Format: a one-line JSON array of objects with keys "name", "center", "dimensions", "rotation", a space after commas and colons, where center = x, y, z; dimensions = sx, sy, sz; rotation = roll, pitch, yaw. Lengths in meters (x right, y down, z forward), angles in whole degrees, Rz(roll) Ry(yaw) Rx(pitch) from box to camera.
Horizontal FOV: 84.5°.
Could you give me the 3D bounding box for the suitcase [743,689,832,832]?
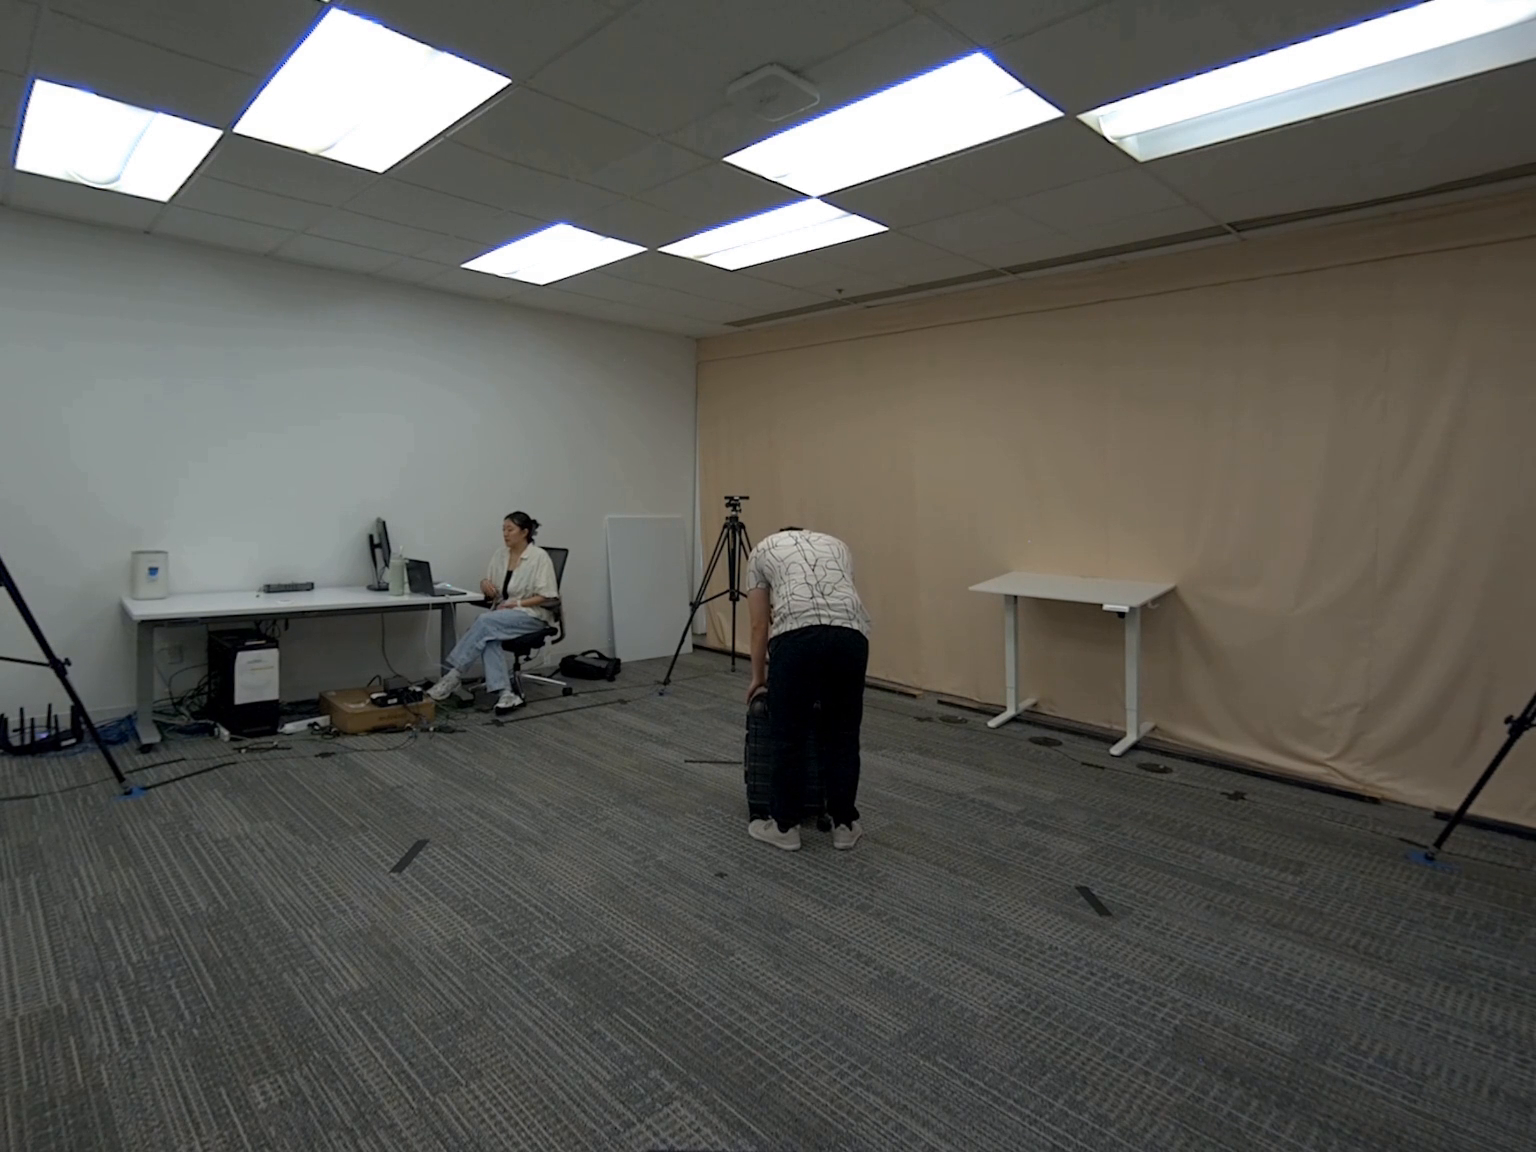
[{"name": "suitcase", "center": [0.082, 0.789, 3.685], "dimensions": [0.377, 0.549, 0.247], "rotation": [1, 0, 5]}]
